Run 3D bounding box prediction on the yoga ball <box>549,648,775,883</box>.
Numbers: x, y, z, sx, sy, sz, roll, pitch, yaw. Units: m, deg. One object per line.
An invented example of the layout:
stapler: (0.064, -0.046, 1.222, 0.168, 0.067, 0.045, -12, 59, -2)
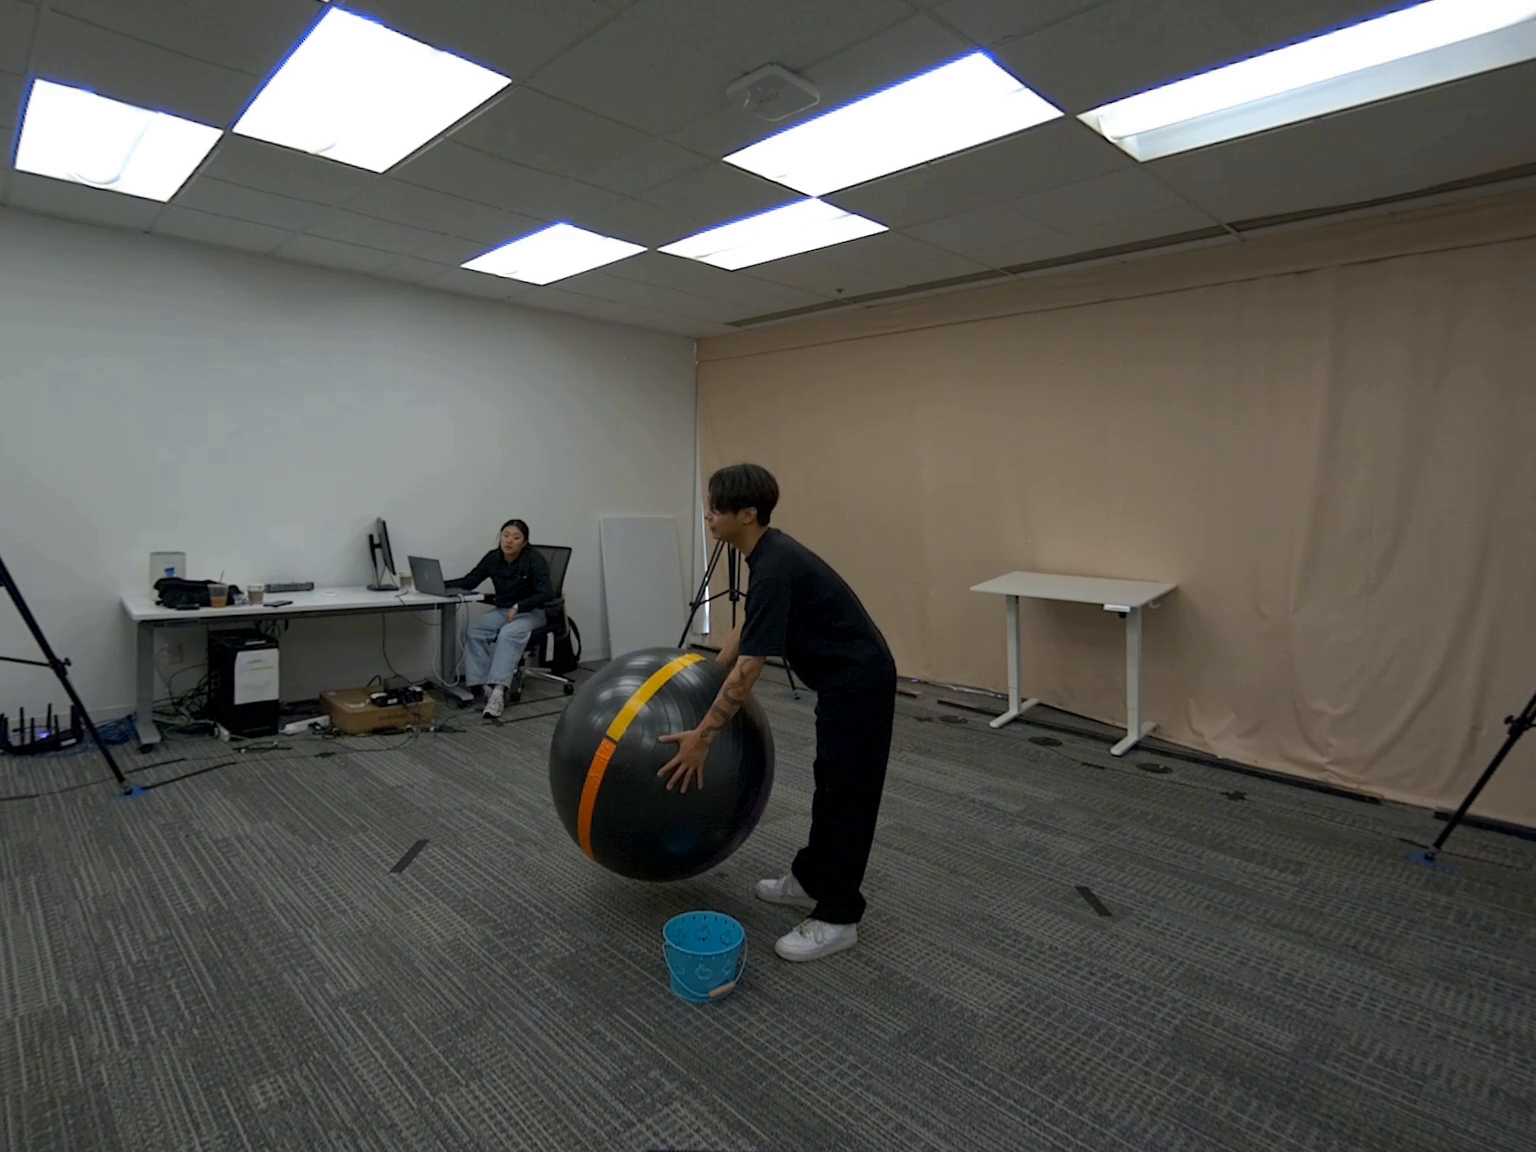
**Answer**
yoga ball: (-0.359, 0.623, 2.843, 0.757, 0.756, 0.761, 1, 4, -1)
